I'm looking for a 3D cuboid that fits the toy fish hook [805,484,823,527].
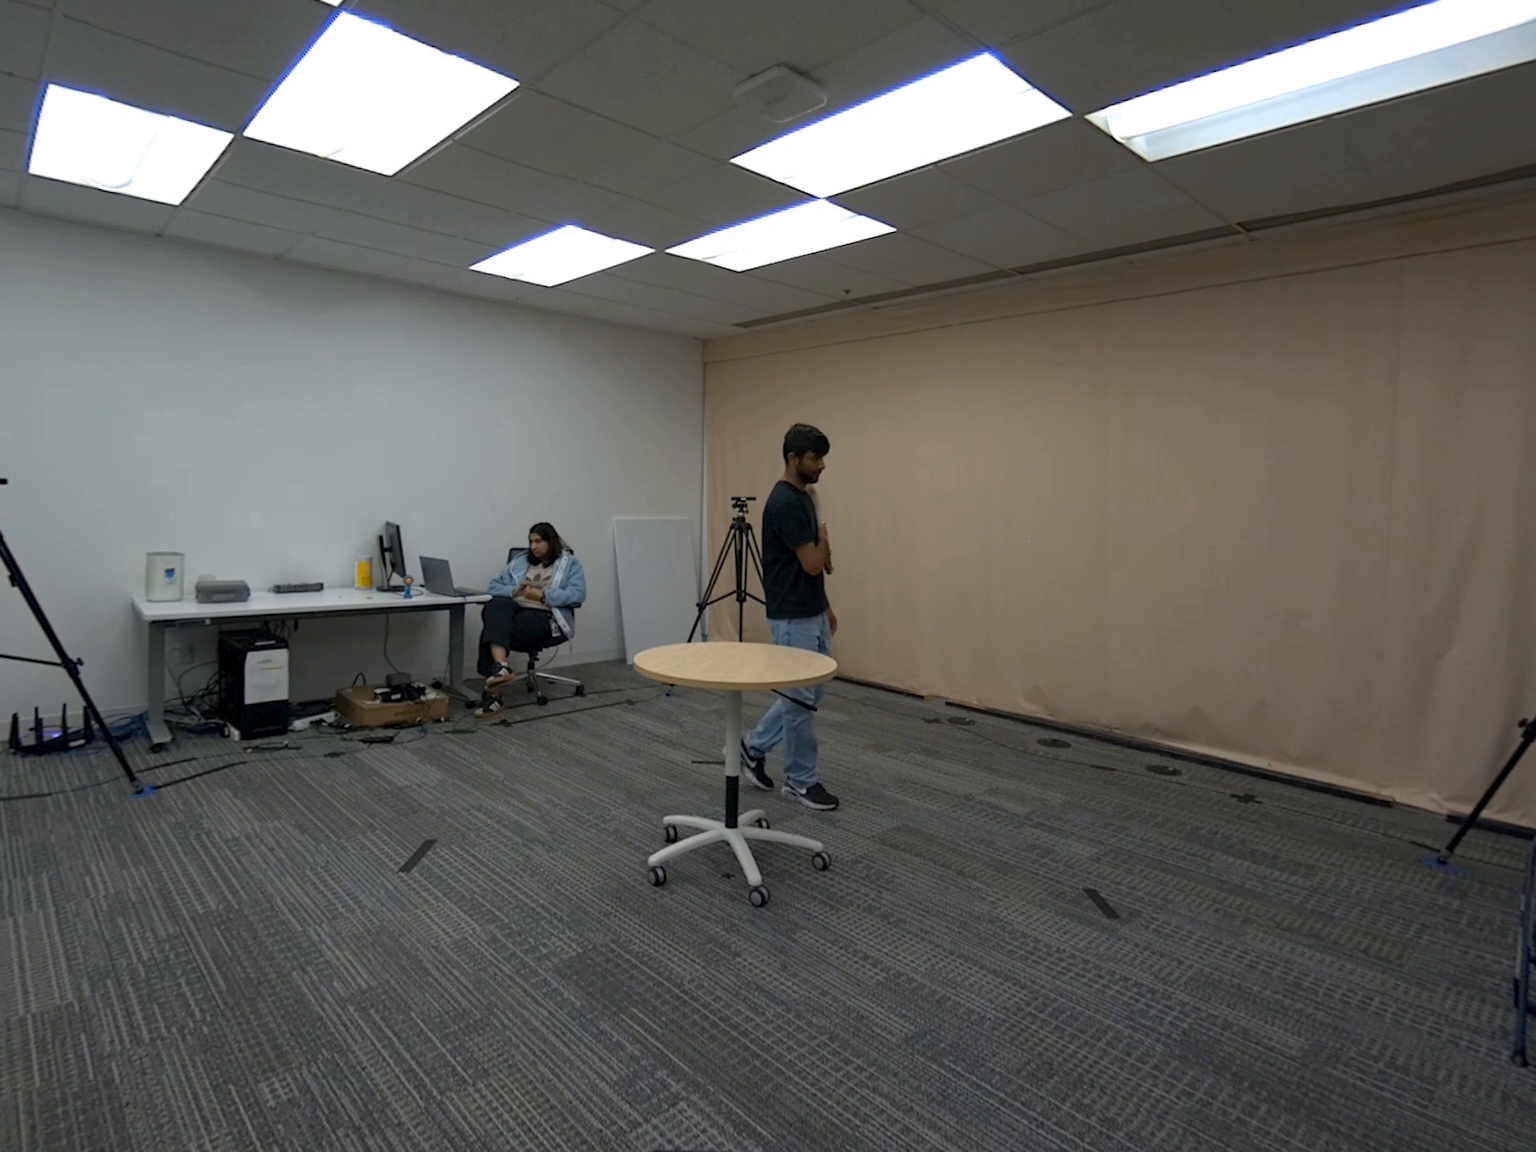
[{"bbox_3d":[0.163,-0.244,4.033,0.228,0.505,0.047,-14,3,33],"label":"toy fish hook"}]
